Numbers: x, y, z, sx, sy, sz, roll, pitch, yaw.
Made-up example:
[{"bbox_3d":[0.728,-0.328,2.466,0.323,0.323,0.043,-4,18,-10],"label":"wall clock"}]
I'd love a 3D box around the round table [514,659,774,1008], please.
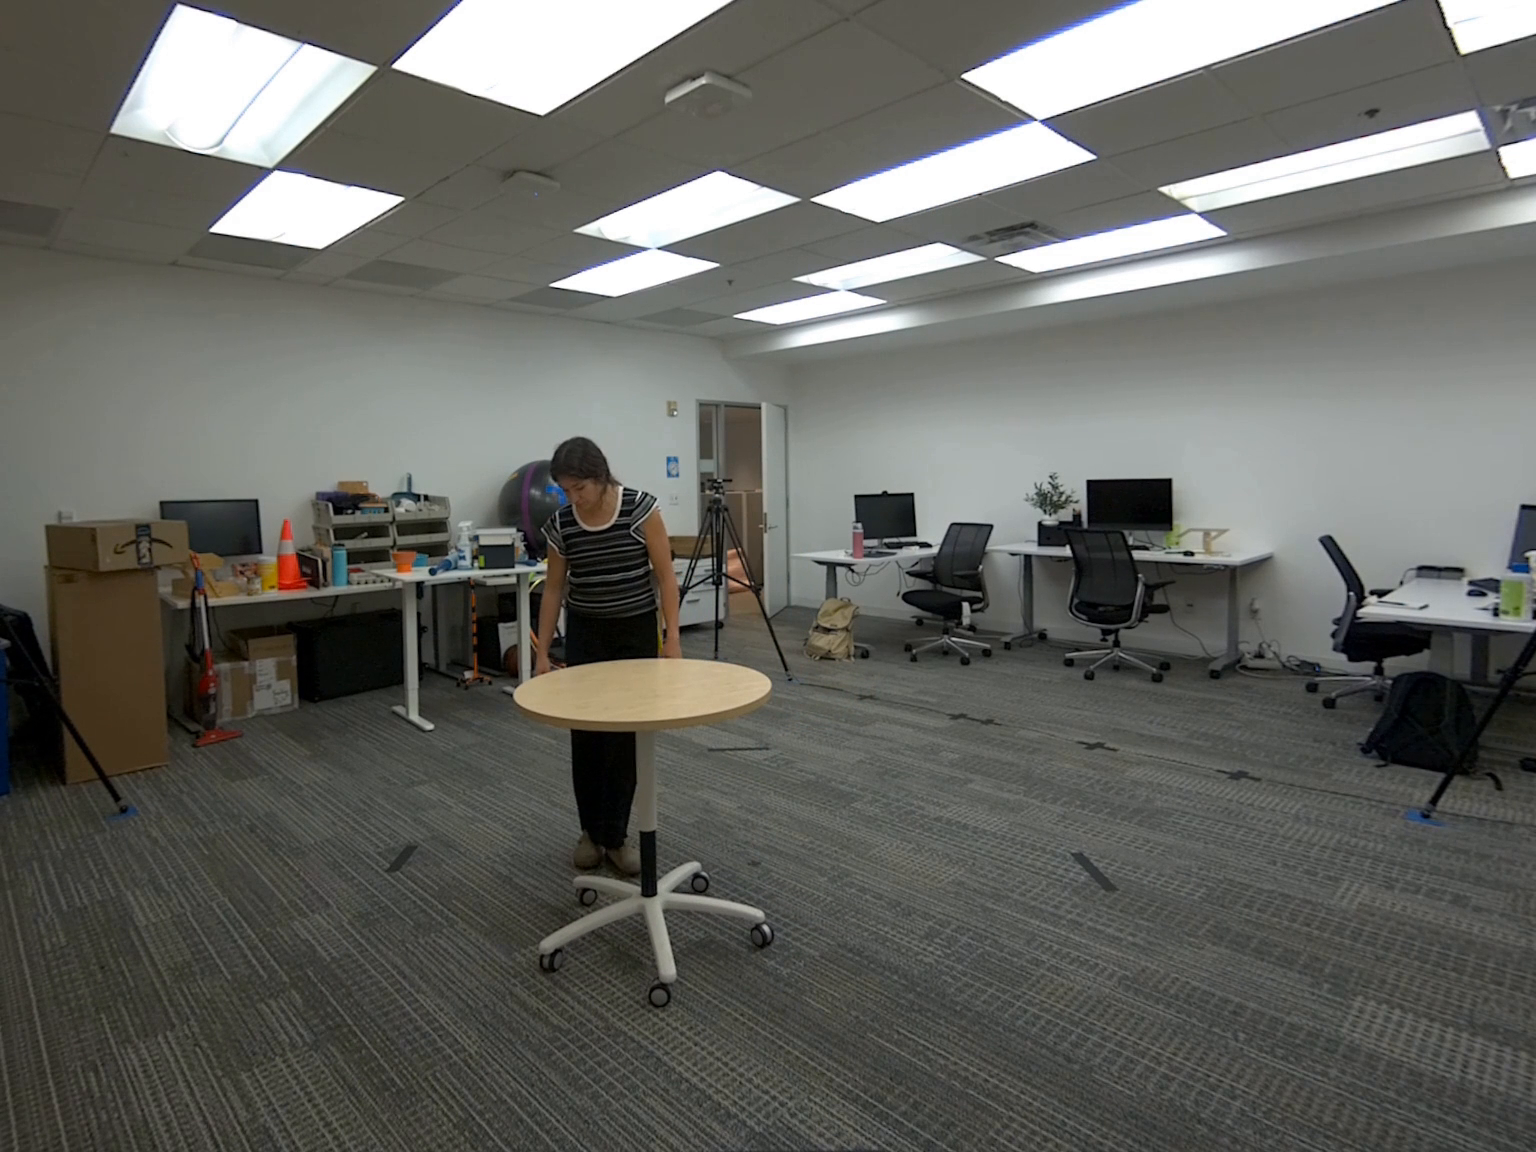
[{"bbox_3d":[-0.359,0.719,2.573,0.784,0.783,0.789,-1,5,-2],"label":"round table"}]
